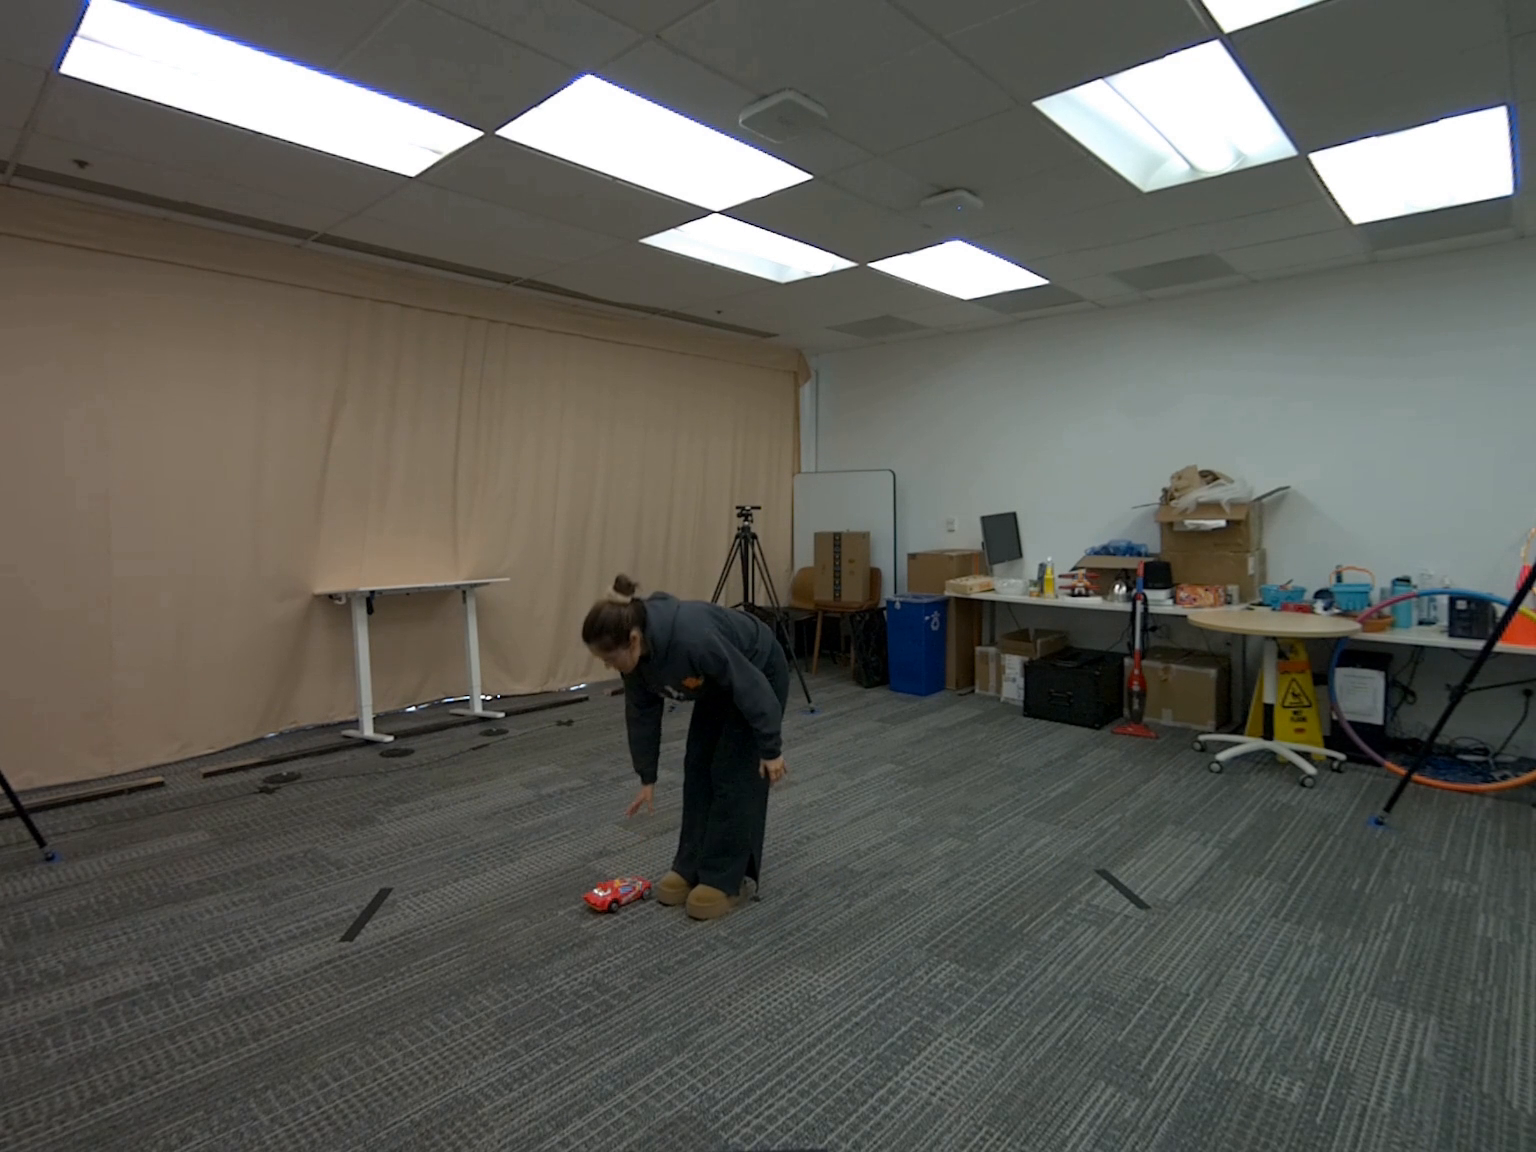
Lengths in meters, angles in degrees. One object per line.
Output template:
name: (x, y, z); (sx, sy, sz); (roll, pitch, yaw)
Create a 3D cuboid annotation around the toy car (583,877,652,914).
toy car: (-0.515, 1.125, 2.960); (0.246, 0.083, 0.134); (10, -5, -43)
